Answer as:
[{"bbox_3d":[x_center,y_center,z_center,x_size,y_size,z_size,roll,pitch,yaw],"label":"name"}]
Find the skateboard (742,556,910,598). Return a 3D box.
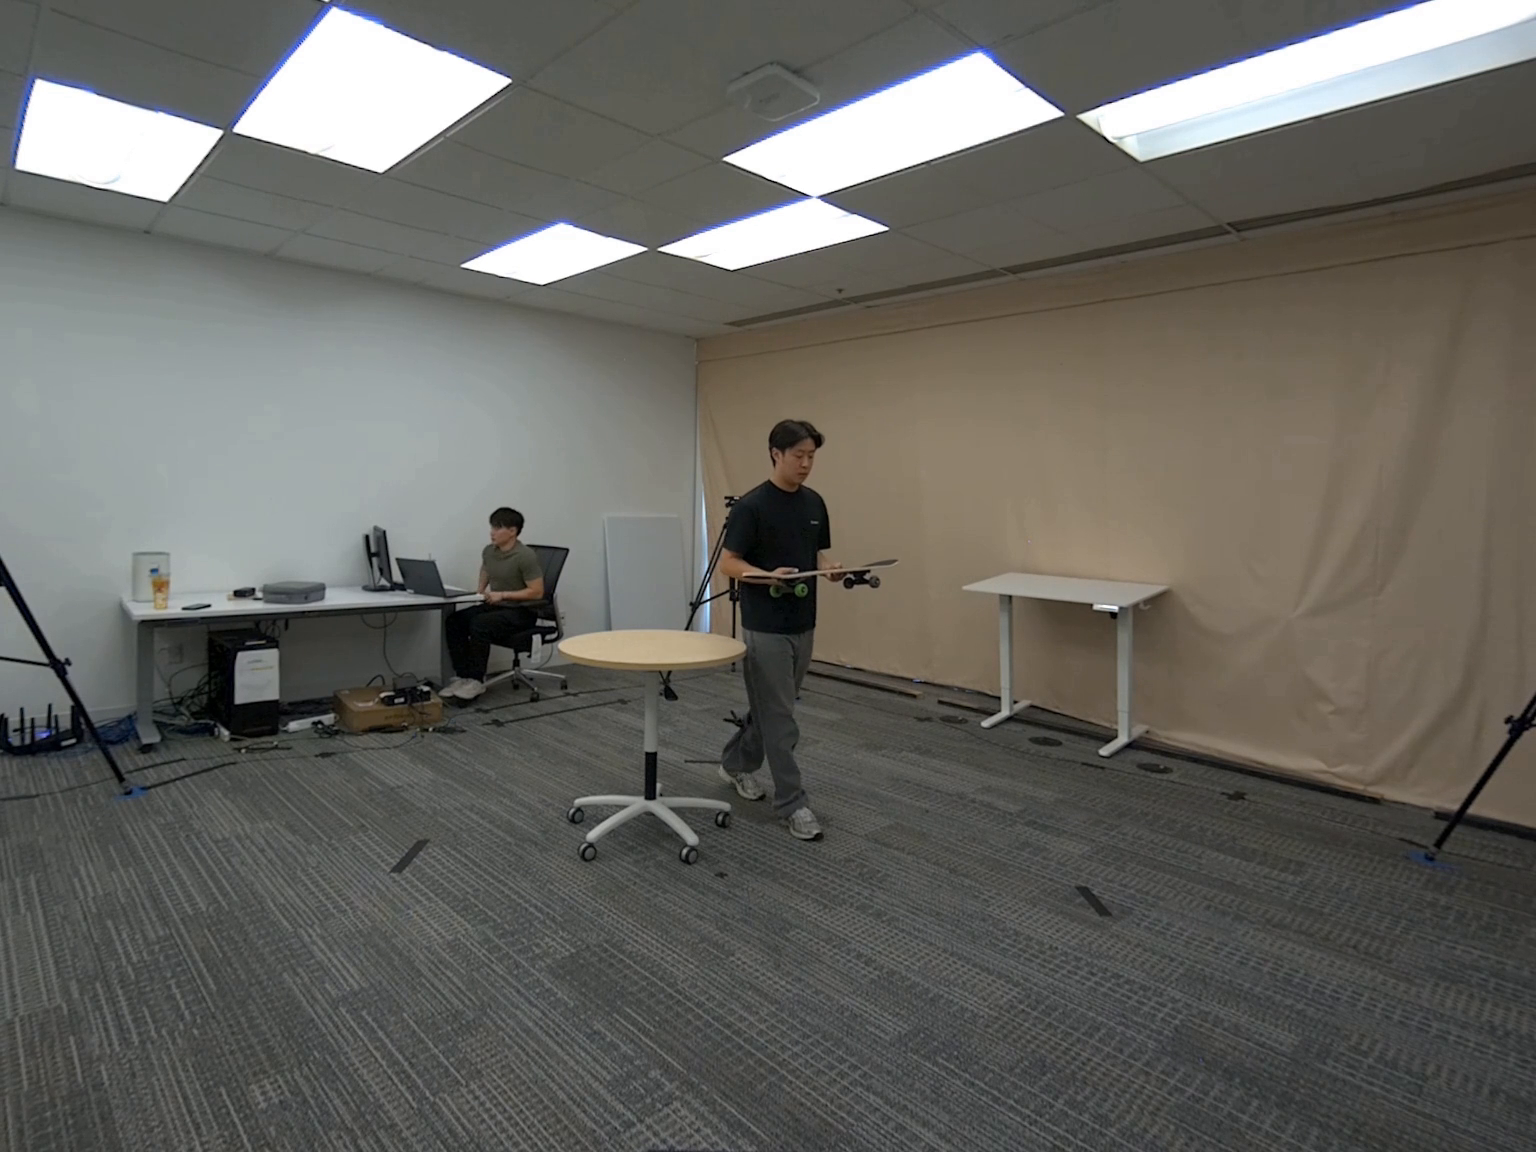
[{"bbox_3d":[0.250,0.009,3.426,0.769,0.110,0.198,-8,3,-43],"label":"skateboard"}]
